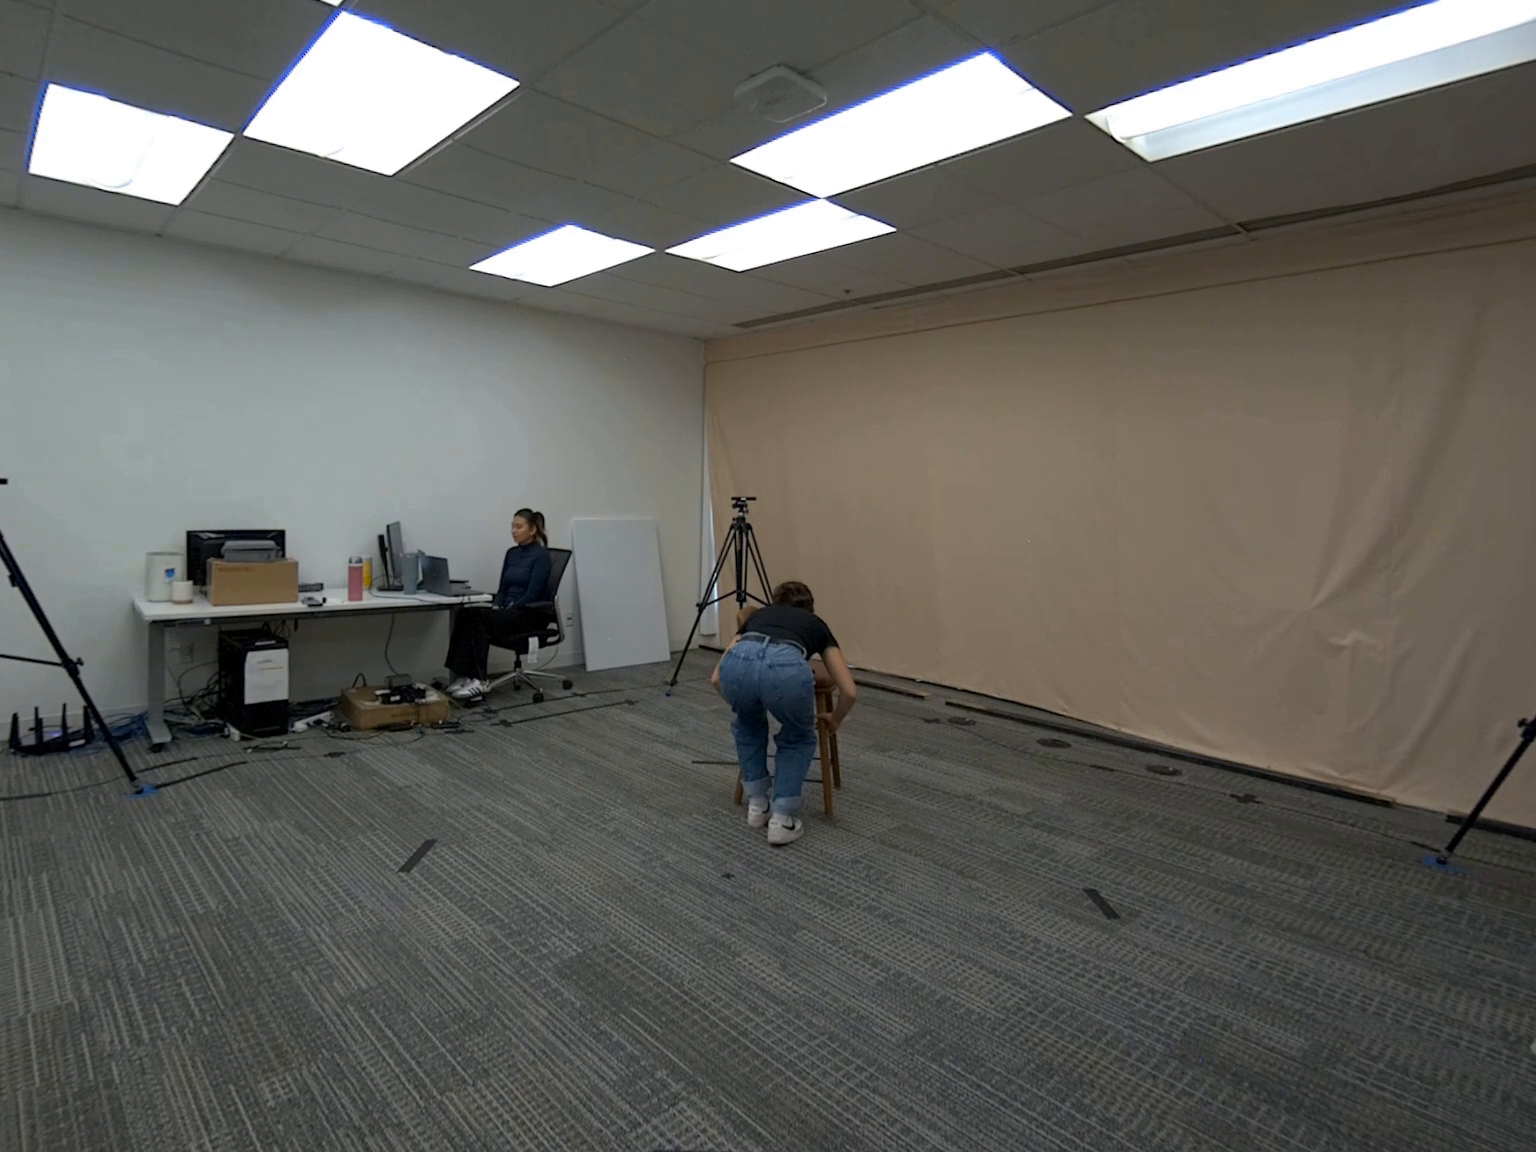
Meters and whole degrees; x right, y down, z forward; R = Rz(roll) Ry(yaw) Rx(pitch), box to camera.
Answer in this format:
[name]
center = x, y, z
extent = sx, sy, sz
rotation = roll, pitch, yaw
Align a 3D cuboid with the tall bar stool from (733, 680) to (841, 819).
[tall bar stool]
center = 0.106, 0.607, 3.953
extent = 0.472, 0.888, 0.453
rotation = 1, 3, 12
